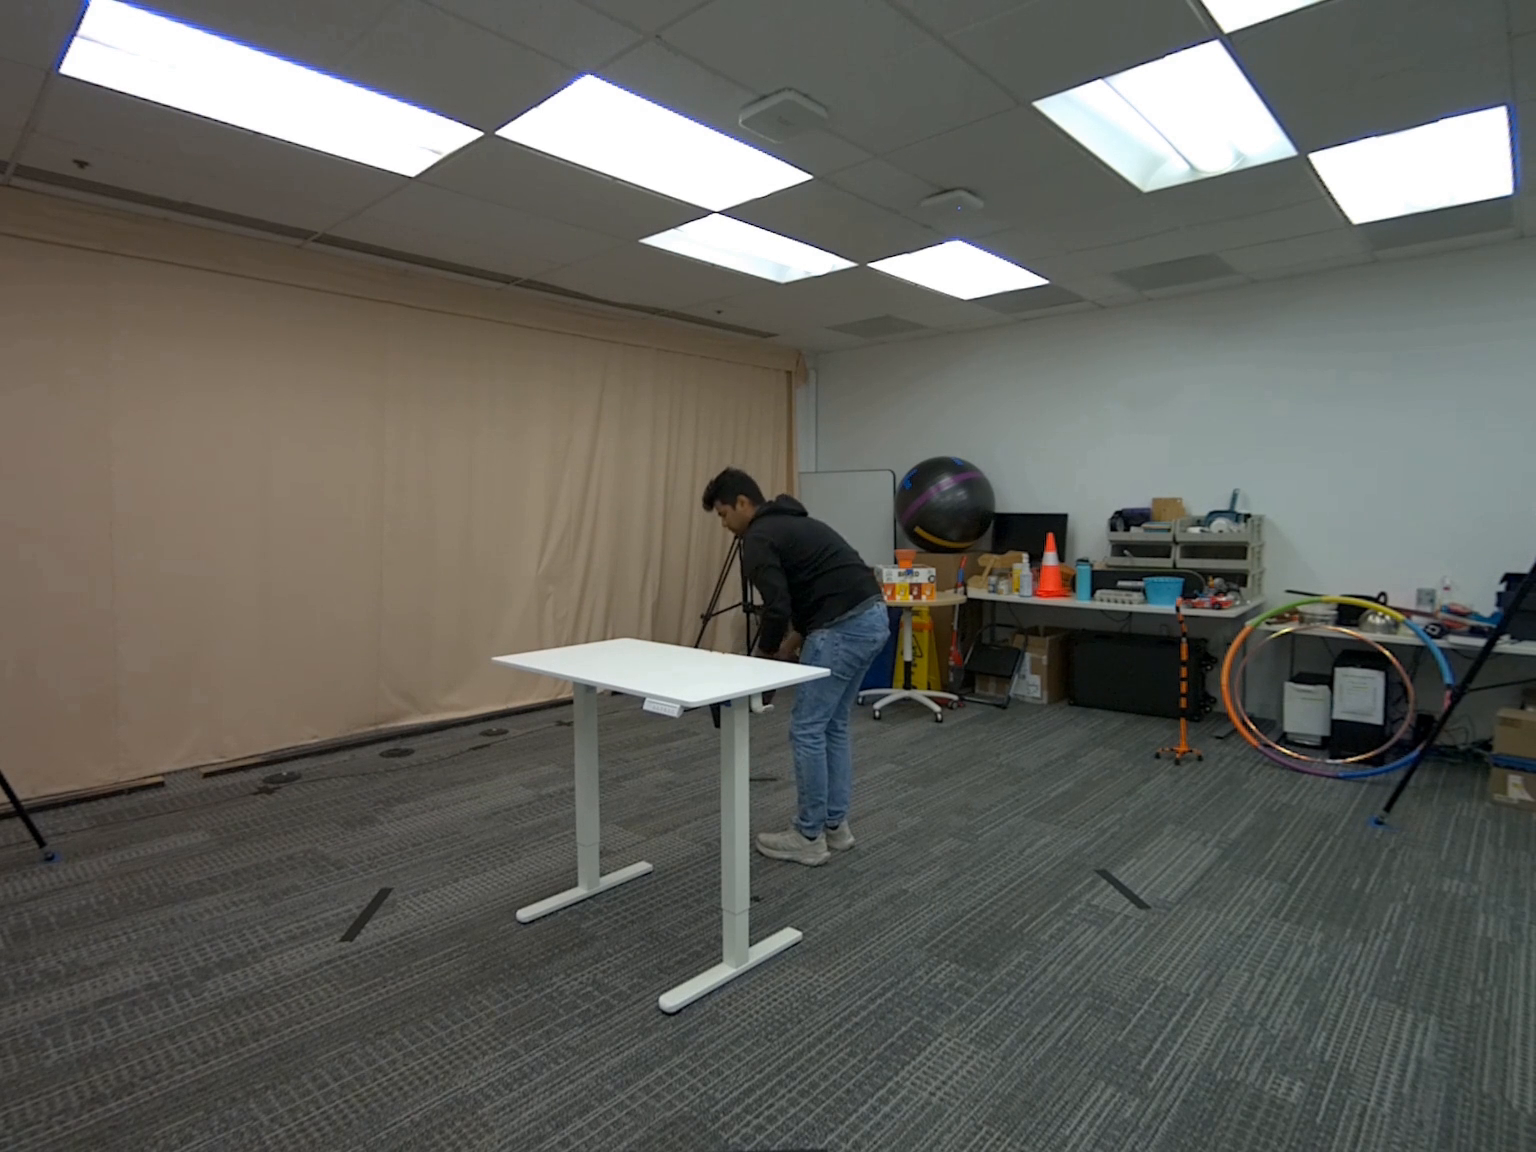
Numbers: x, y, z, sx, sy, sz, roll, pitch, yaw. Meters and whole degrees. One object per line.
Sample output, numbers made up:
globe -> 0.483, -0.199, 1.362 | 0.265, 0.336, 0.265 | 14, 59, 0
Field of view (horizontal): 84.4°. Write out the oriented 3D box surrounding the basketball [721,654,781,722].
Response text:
basketball -> -0.077, 0.464, 3.556 | 0.236, 0.235, 0.237 | 0, 4, -2
